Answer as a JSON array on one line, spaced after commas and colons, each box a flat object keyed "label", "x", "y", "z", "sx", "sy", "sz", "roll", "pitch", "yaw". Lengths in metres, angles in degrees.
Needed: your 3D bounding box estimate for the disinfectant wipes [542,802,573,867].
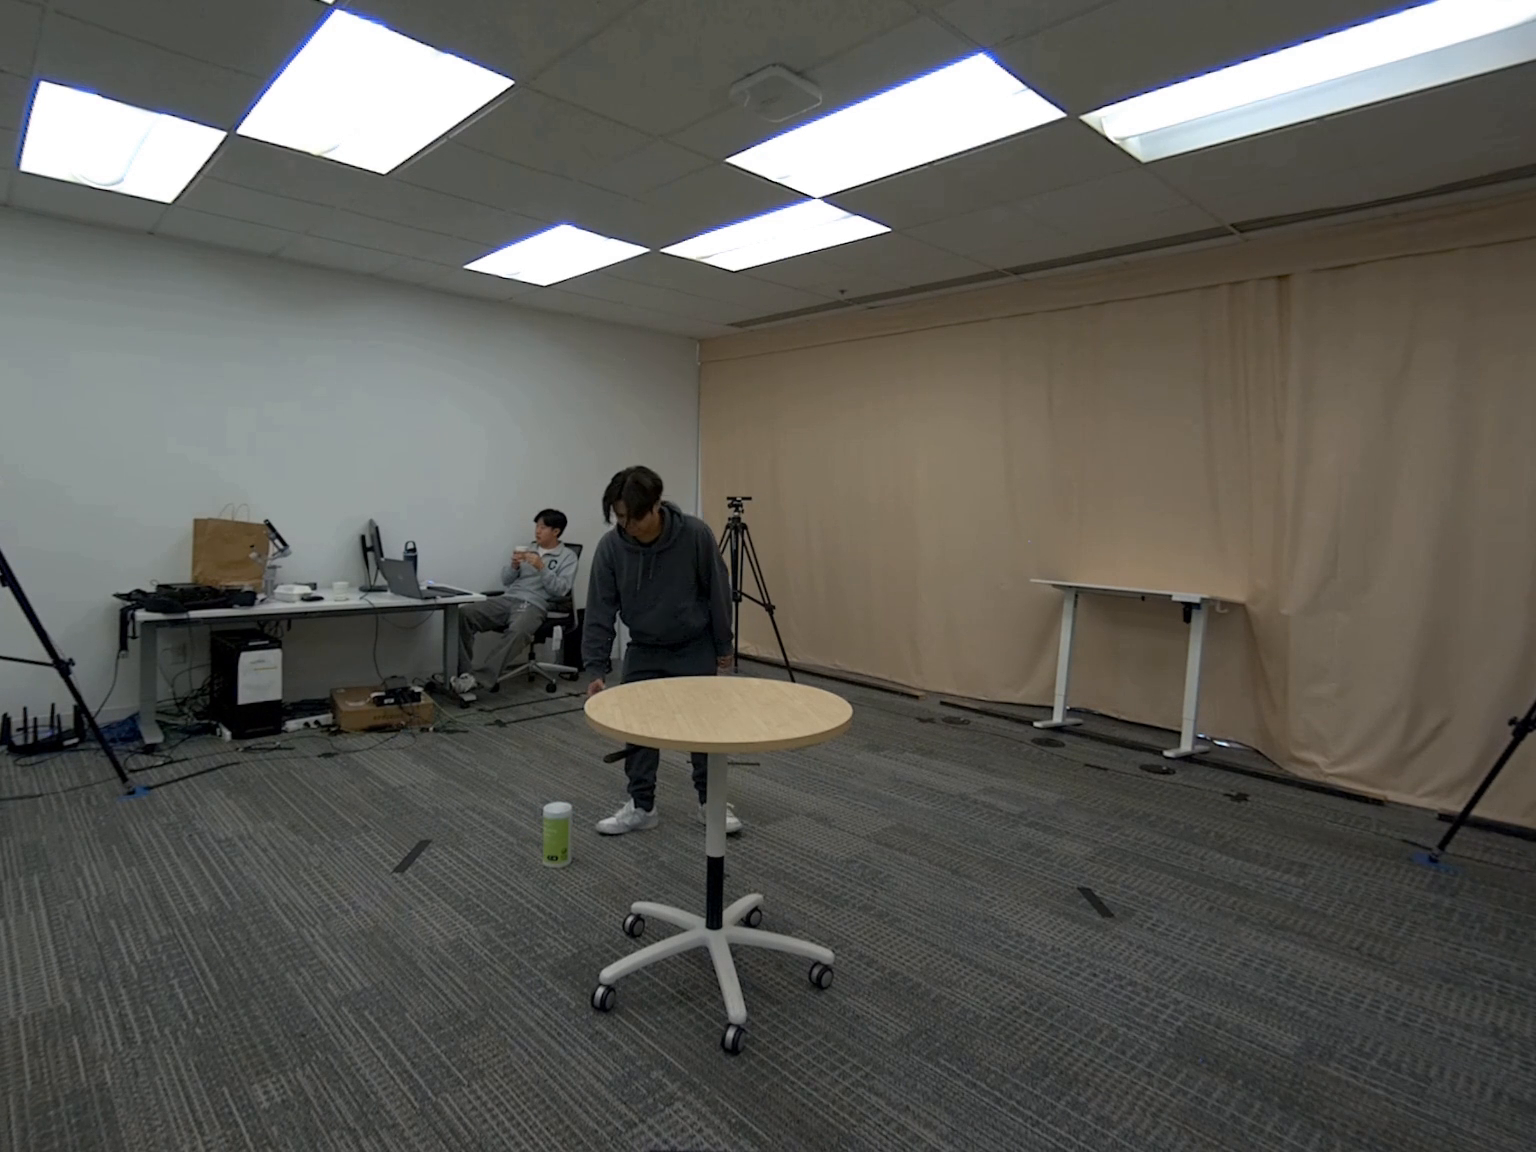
[{"label": "disinfectant wipes", "x": -0.802, "y": 0.976, "z": 3.177, "sx": 0.118, "sy": 0.217, "sz": 0.118, "roll": 1, "pitch": 3, "yaw": -1}]
